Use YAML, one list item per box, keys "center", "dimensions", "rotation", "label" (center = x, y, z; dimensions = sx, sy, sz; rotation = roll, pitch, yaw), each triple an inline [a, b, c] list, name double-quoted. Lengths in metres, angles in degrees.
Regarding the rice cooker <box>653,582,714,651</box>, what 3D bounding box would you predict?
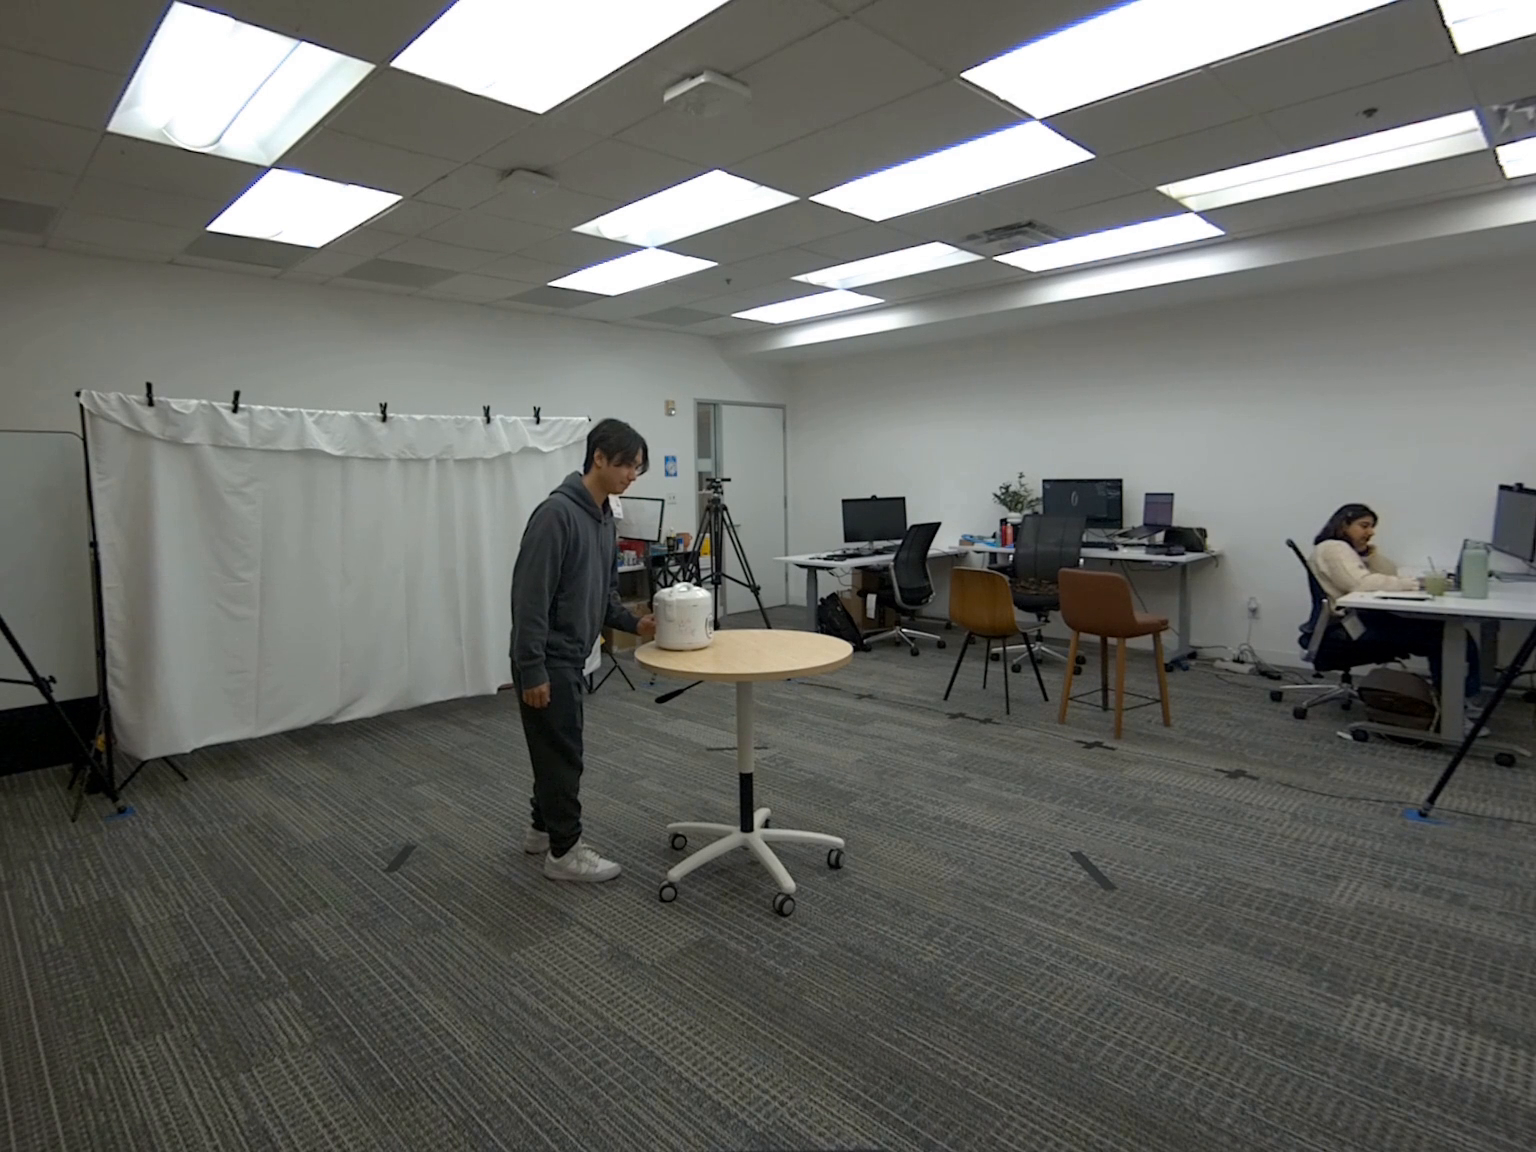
- center: [-0.302, 0.139, 3.068]
  dimensions: [0.222, 0.232, 0.217]
  rotation: [0, 6, 24]
  label: "rice cooker"
